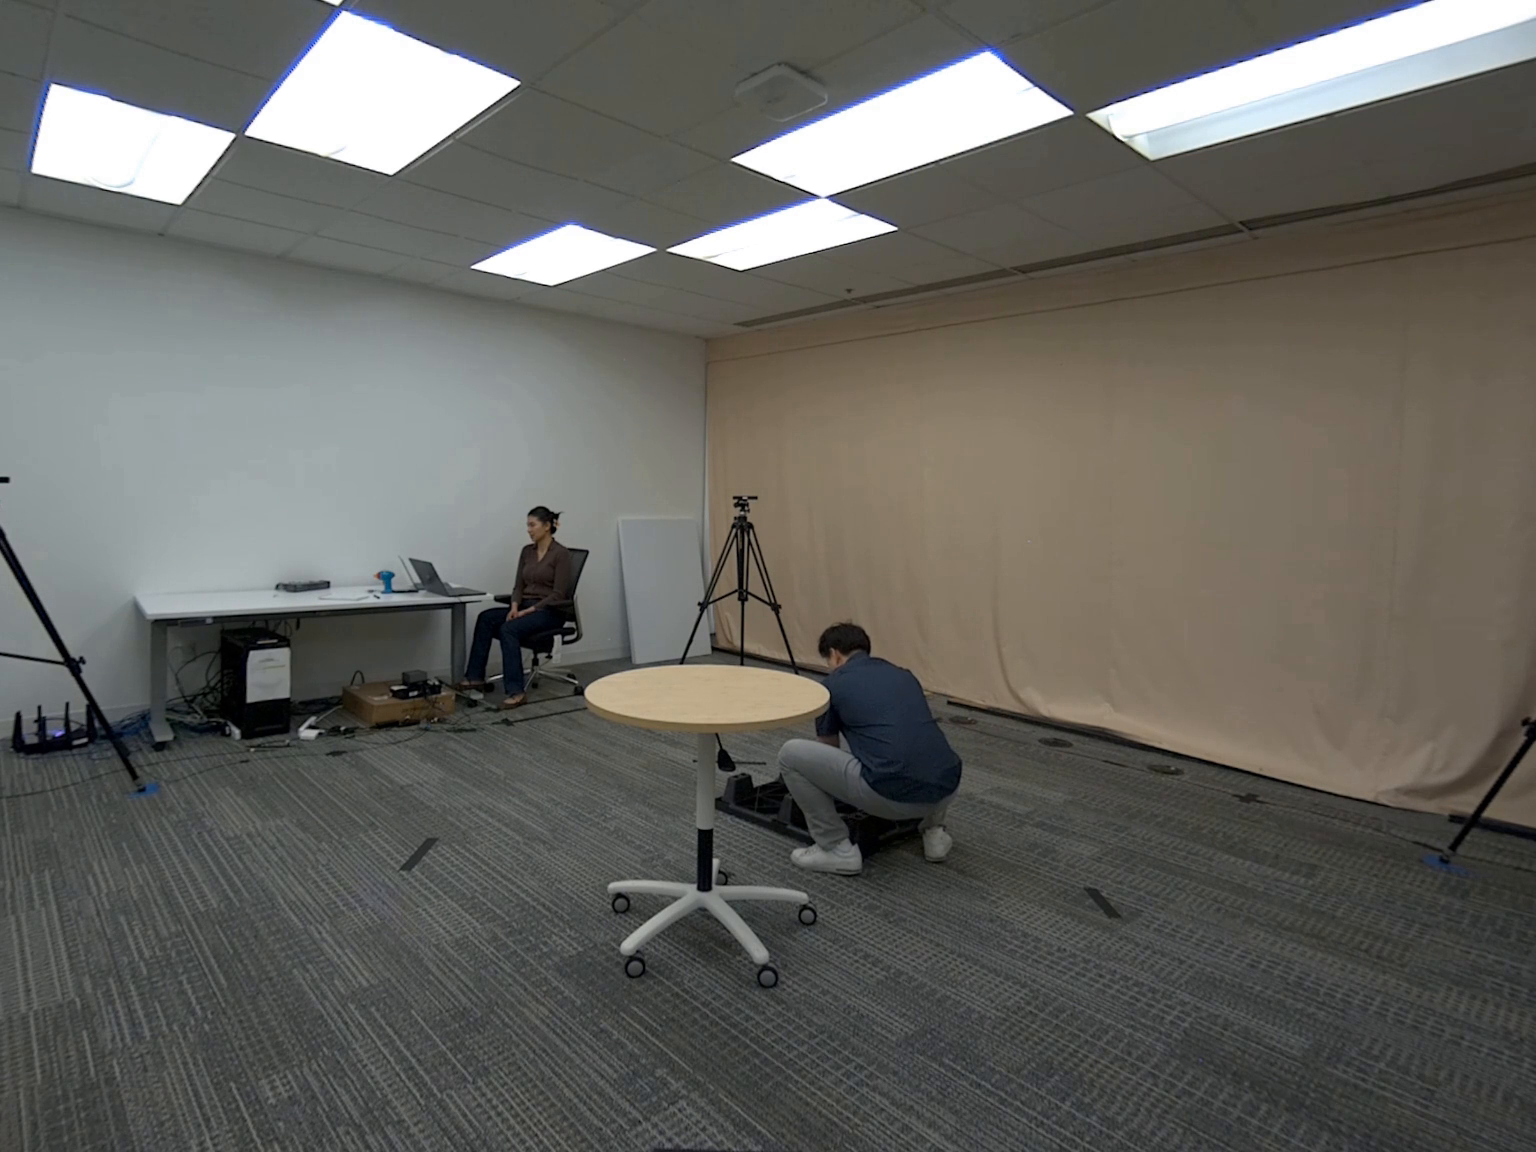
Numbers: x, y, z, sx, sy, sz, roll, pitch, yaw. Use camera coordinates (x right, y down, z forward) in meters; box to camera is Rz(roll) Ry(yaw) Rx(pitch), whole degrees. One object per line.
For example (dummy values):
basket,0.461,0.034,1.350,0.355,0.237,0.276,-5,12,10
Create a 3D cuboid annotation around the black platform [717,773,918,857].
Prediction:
black platform,0.241,0.987,3.707,0.826,0.143,0.592,5,8,44
